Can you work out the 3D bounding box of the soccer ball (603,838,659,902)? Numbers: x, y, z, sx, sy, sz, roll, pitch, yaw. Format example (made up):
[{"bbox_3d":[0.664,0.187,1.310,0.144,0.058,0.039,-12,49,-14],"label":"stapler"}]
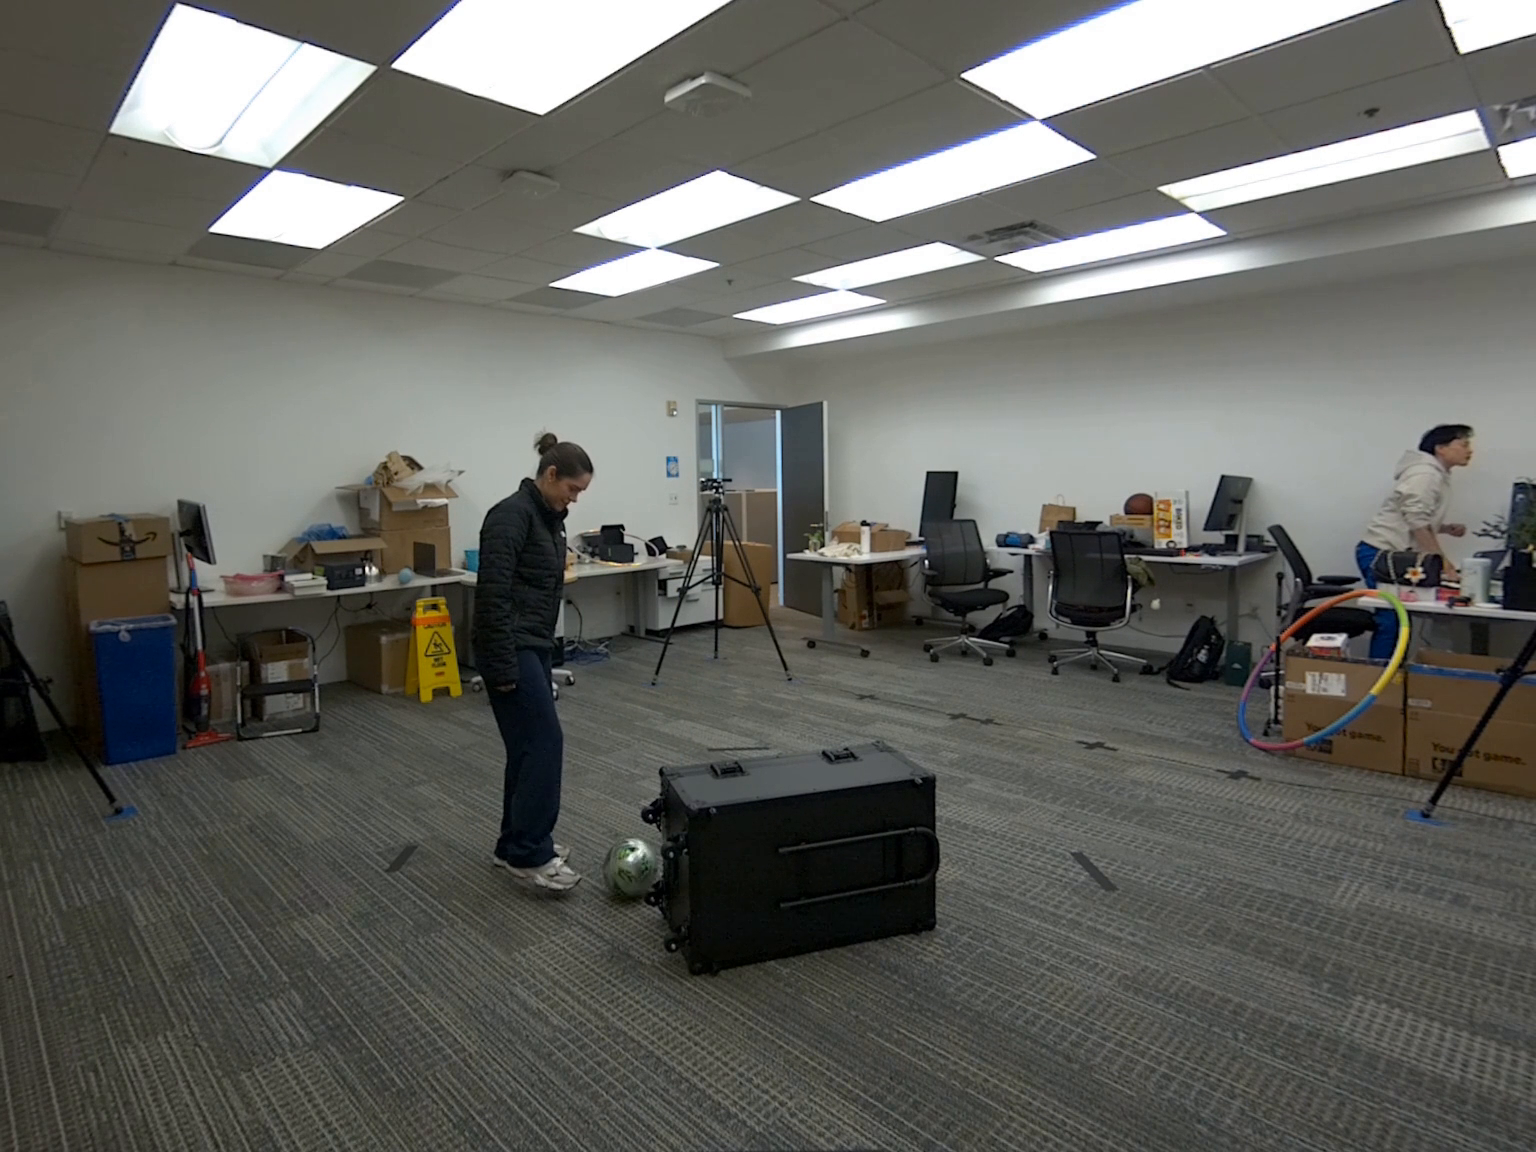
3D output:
[{"bbox_3d":[-0.455,0.975,2.875,0.187,0.187,0.188,-1,5,-2],"label":"soccer ball"}]
